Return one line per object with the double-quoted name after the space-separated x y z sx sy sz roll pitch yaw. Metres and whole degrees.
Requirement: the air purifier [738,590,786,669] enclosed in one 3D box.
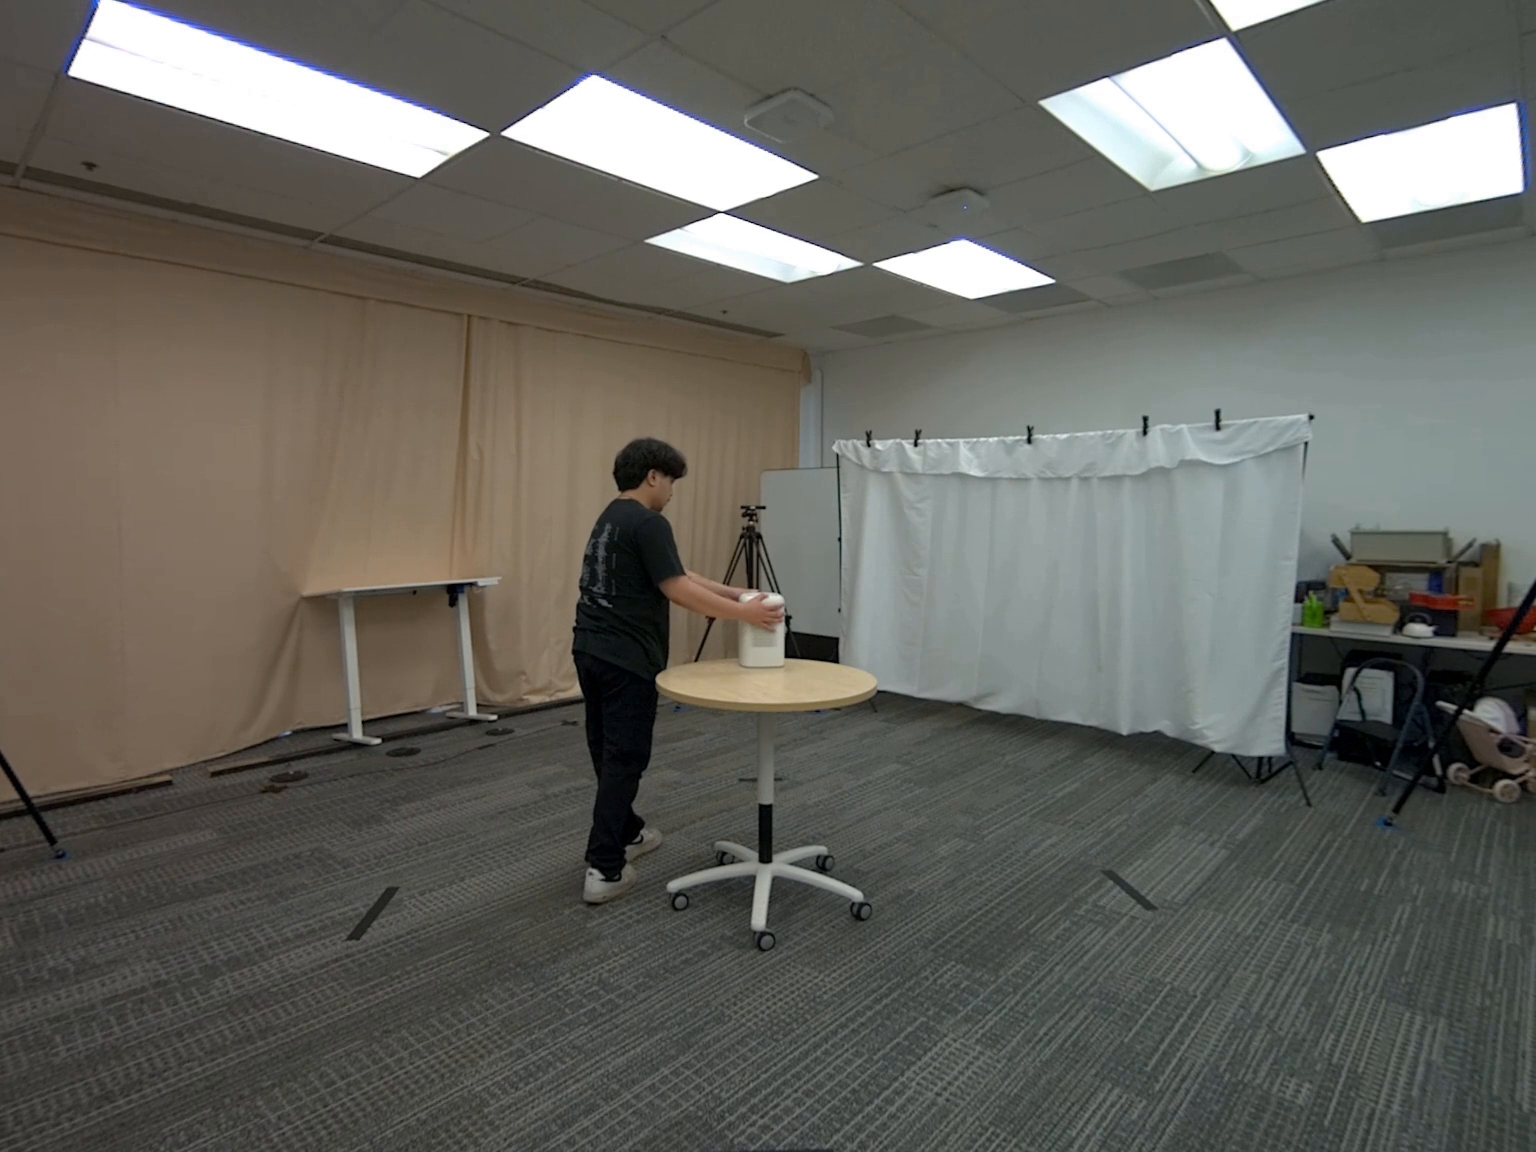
-0.022 0.203 3.182 0.171 0.265 0.172 1 3 -3 "air purifier"
